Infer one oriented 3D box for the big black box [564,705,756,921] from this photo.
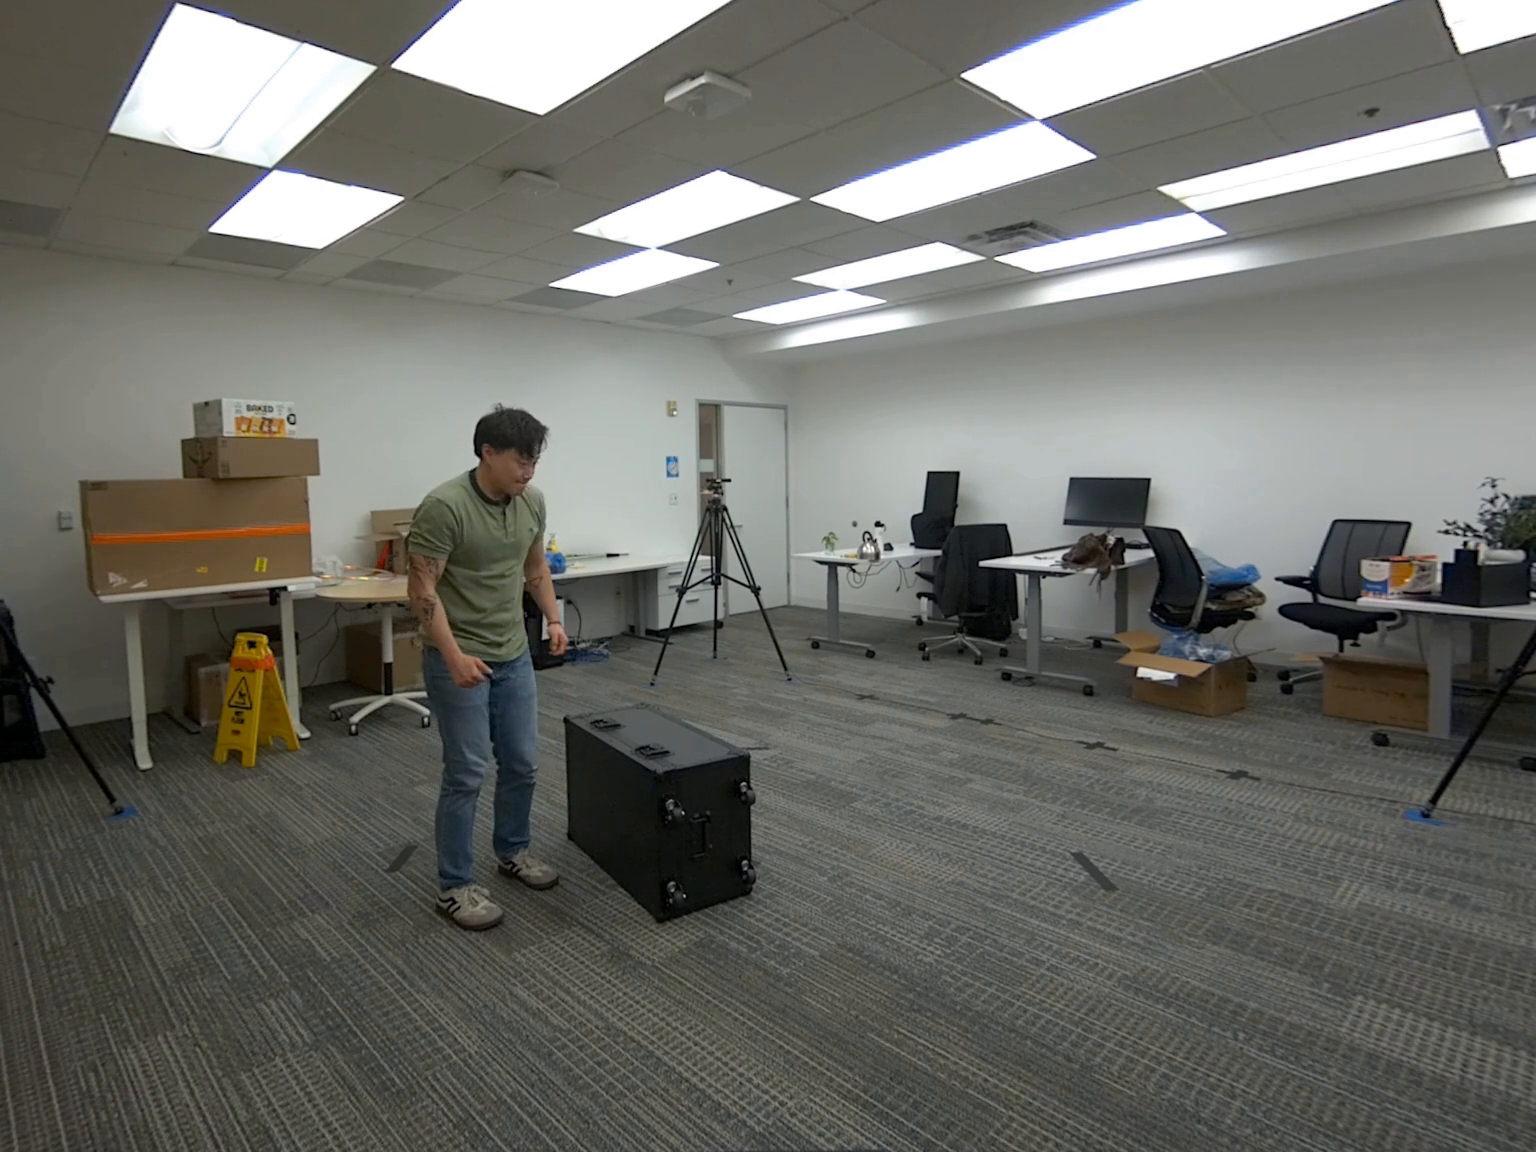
[{"bbox_3d":[-0.393,0.812,3.078,0.387,0.519,0.887,-4,7,-33],"label":"big black box"}]
